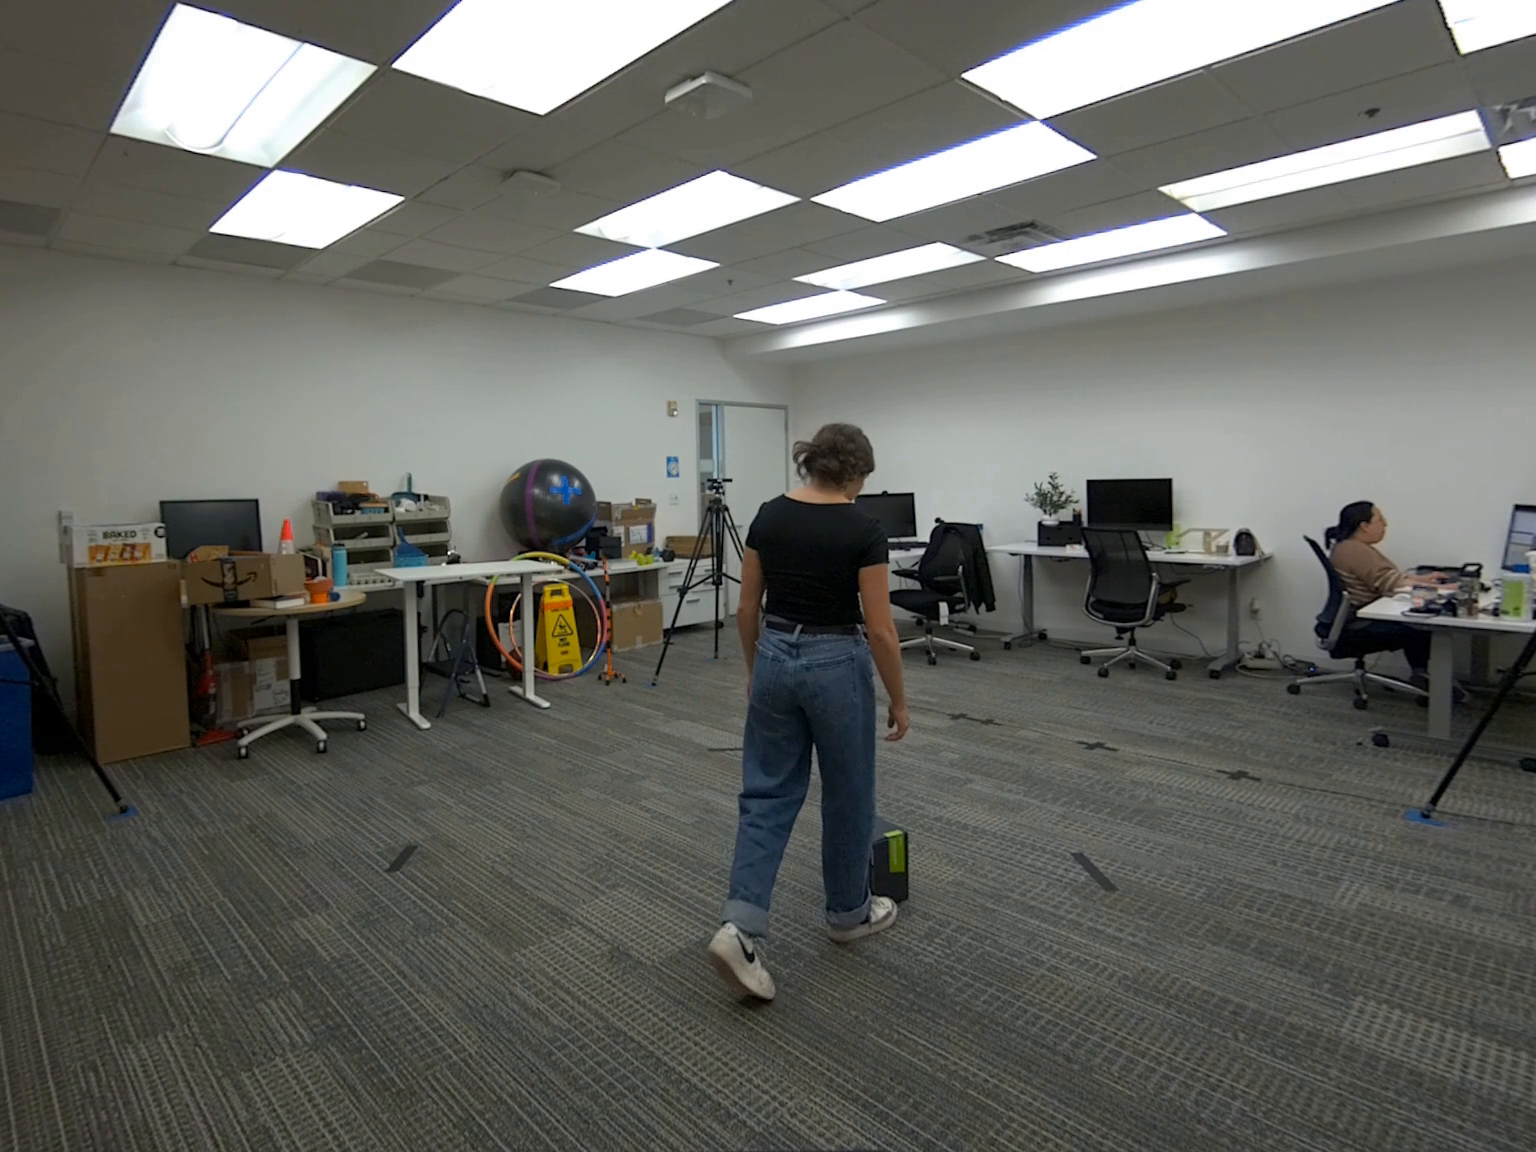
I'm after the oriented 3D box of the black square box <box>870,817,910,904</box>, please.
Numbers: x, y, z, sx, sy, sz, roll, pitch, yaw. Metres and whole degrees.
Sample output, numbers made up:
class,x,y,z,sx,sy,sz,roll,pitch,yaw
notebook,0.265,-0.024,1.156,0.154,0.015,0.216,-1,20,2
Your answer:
class,x,y,z,sx,sy,sz,roll,pitch,yaw
black square box,0.349,0.946,2.866,0.152,0.227,0.223,-4,6,-30
